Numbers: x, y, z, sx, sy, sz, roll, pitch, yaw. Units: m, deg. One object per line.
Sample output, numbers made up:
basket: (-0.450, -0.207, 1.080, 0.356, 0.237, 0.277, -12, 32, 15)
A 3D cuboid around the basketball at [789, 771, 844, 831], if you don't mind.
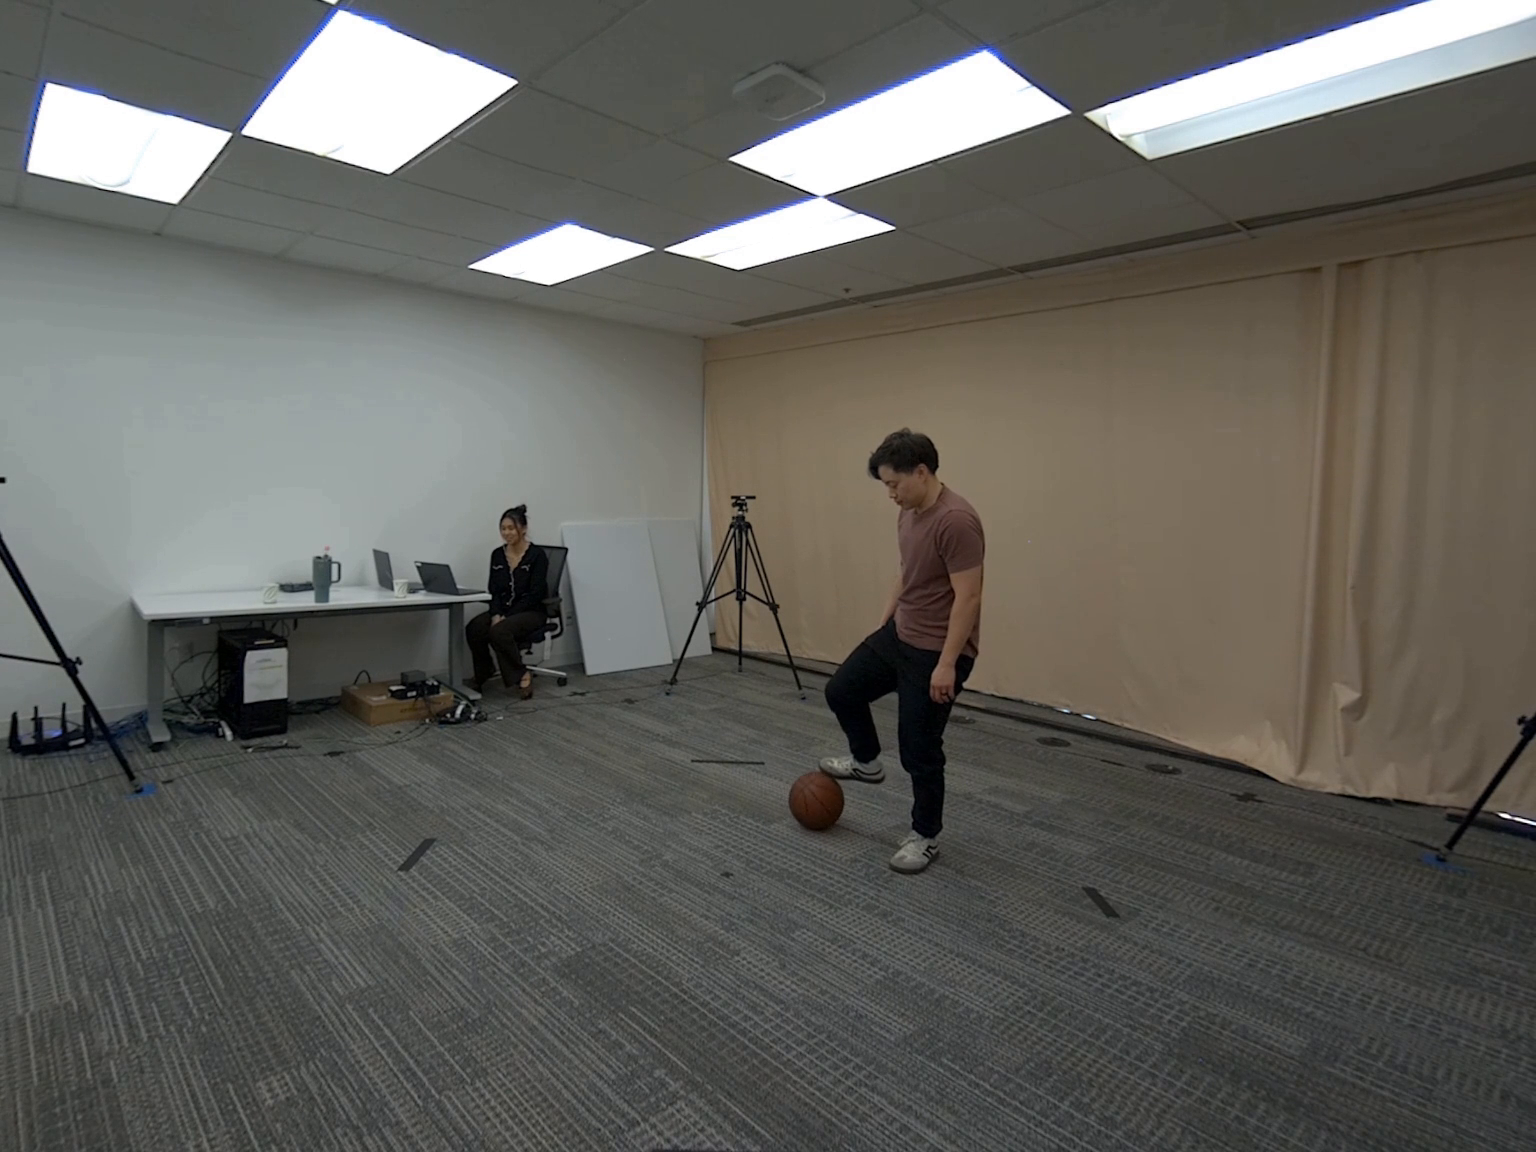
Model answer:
basketball: (0.193, 0.951, 3.570, 0.236, 0.235, 0.237, 1, 4, -1)
